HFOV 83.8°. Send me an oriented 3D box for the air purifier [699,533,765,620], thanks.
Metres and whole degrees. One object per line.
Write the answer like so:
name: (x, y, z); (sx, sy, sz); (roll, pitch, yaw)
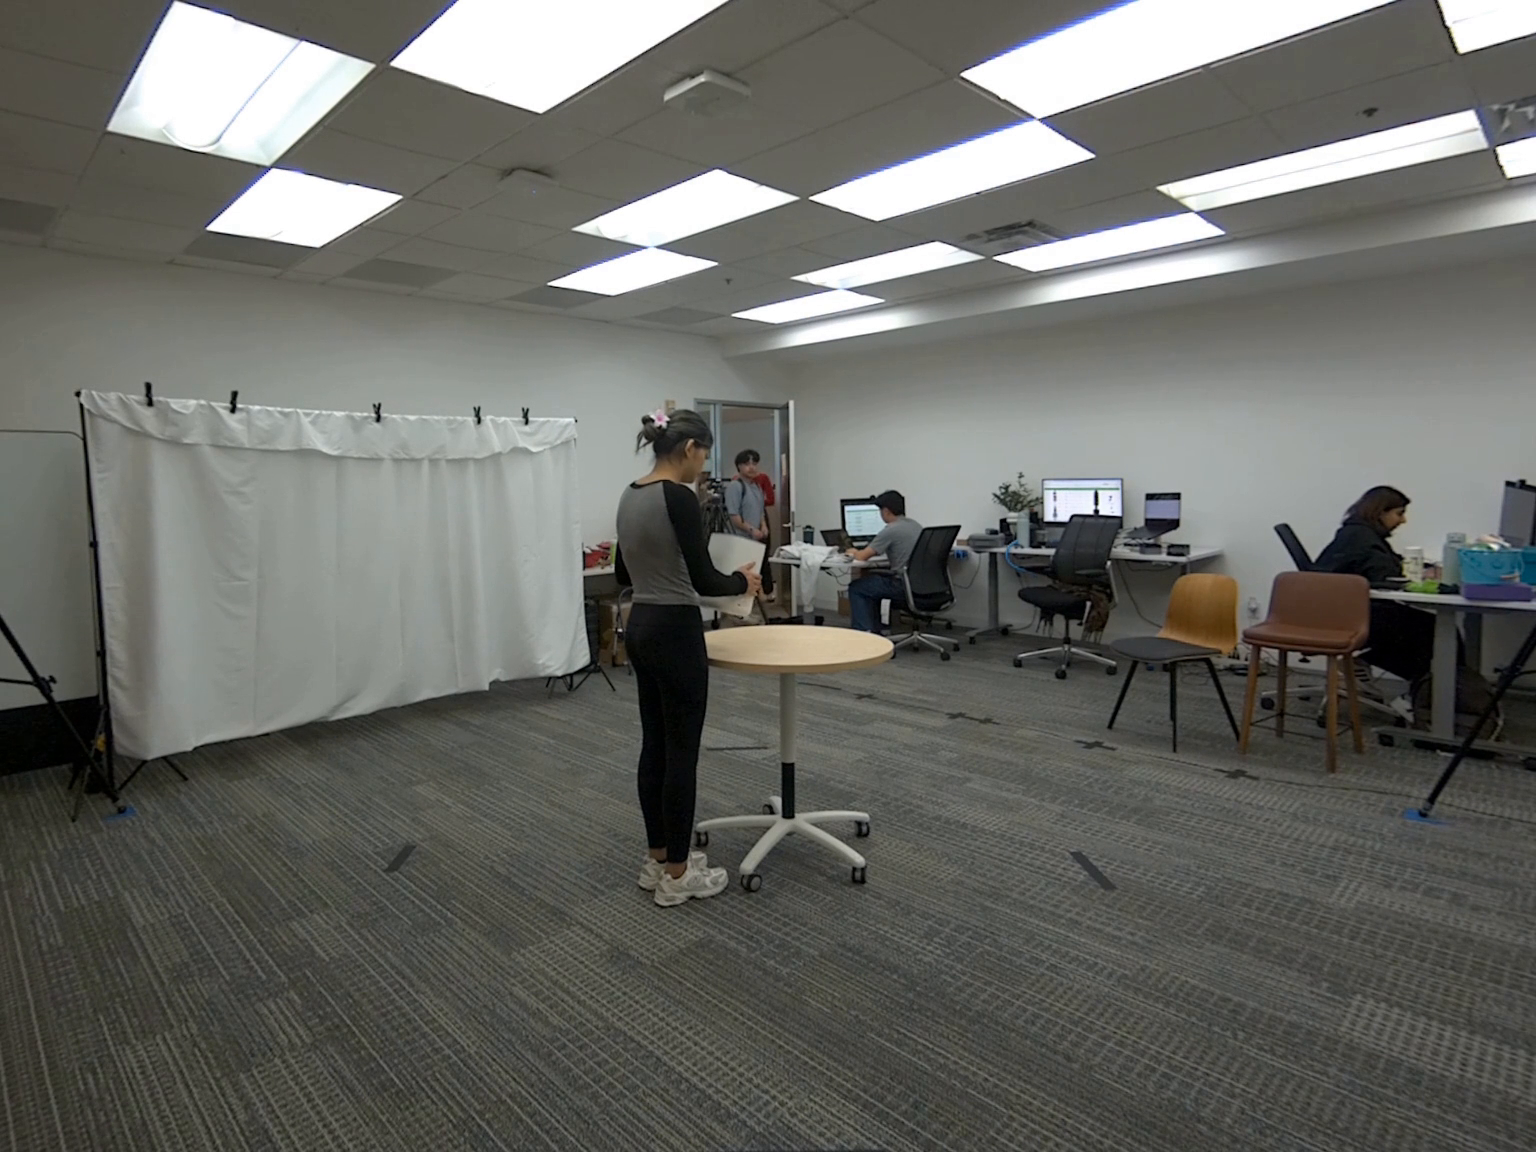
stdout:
air purifier: (-0.129, 0.002, 3.034); (0.165, 0.266, 0.177); (17, -8, -39)
